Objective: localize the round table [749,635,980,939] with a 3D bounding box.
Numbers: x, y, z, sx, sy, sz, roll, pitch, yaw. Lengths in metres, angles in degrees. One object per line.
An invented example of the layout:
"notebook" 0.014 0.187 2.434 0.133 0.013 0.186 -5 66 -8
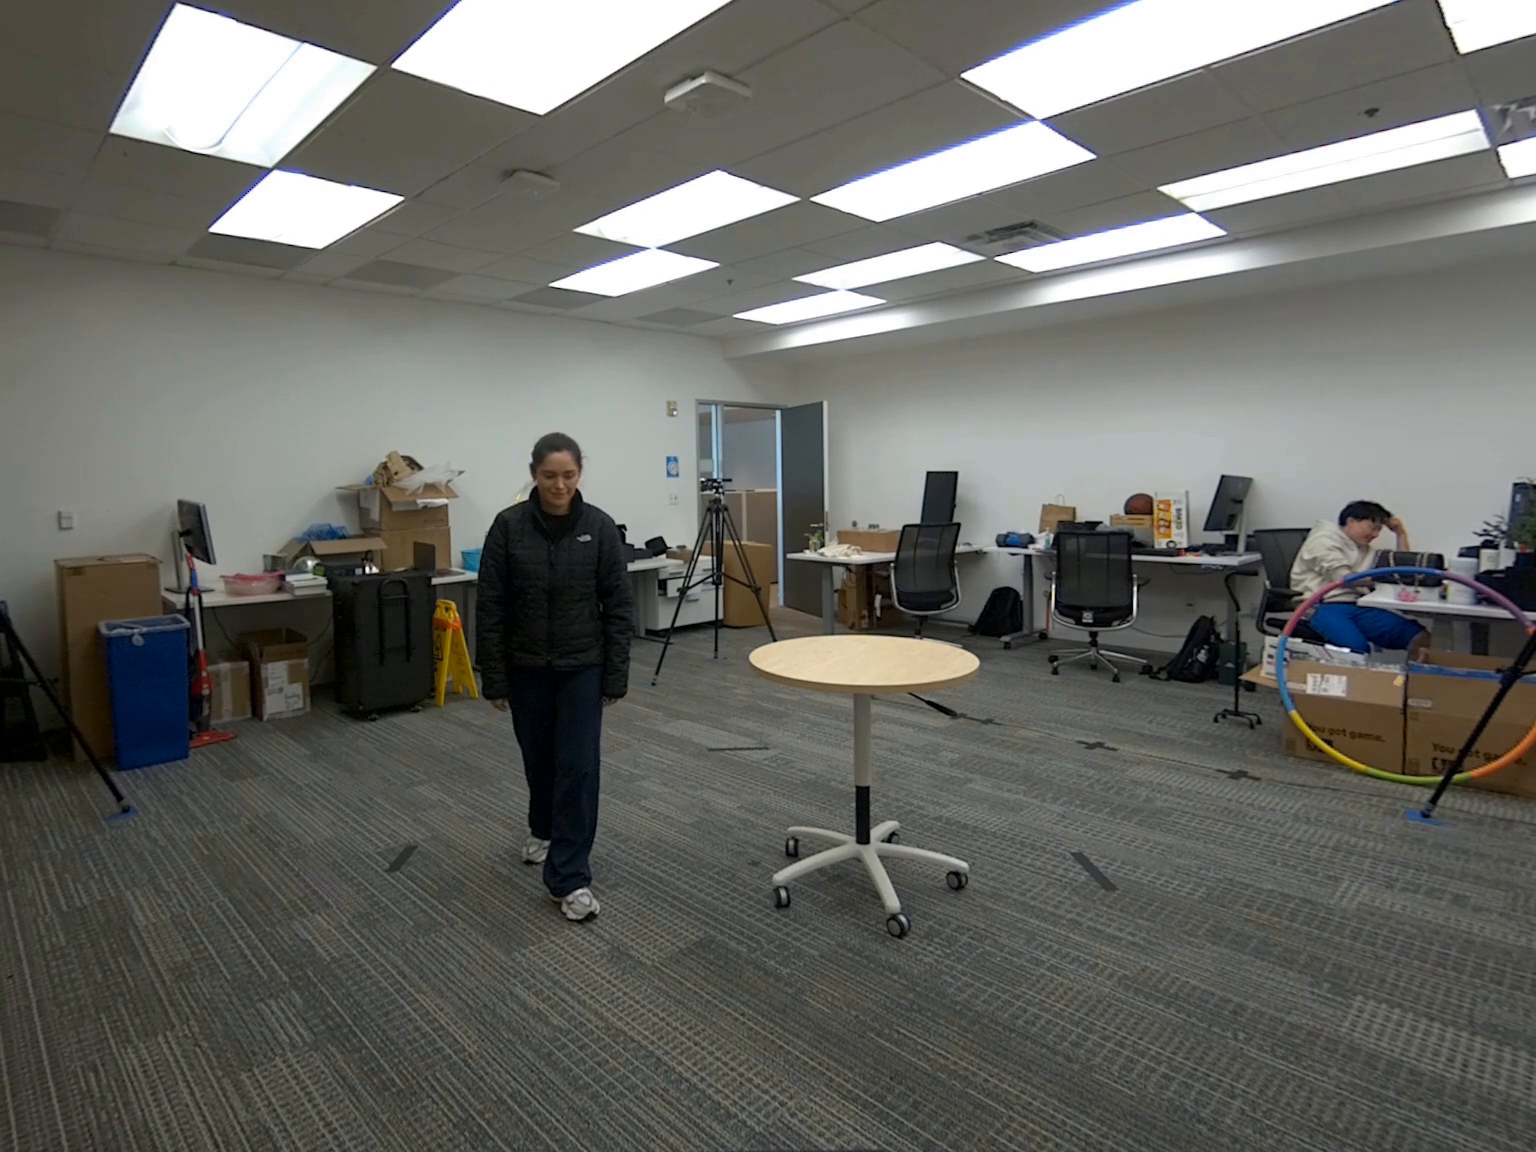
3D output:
"round table" 0.317 0.658 2.944 0.784 0.783 0.790 -1 6 -2
